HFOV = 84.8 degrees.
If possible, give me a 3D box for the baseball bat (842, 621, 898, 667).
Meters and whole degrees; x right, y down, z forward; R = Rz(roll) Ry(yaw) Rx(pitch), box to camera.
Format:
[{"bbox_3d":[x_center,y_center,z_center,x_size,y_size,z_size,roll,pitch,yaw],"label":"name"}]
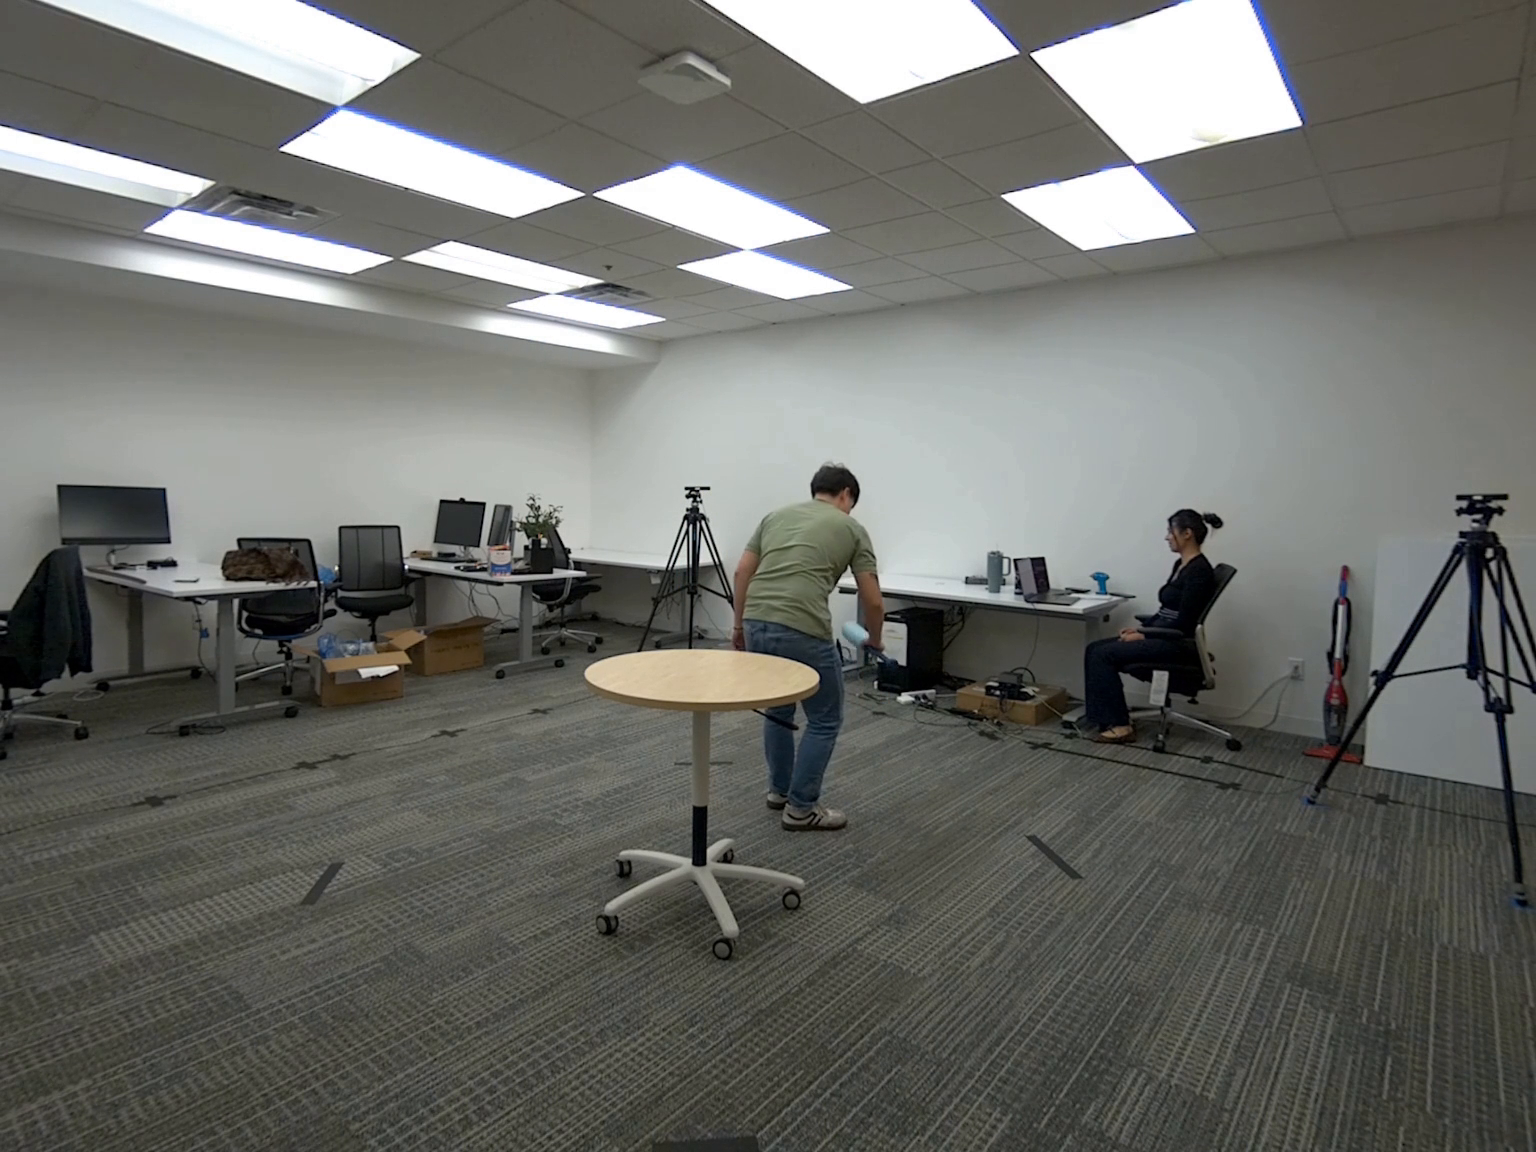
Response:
[{"bbox_3d":[0.437,0.314,3.783,0.088,0.088,0.557,-1,14,-15],"label":"baseball bat"}]
